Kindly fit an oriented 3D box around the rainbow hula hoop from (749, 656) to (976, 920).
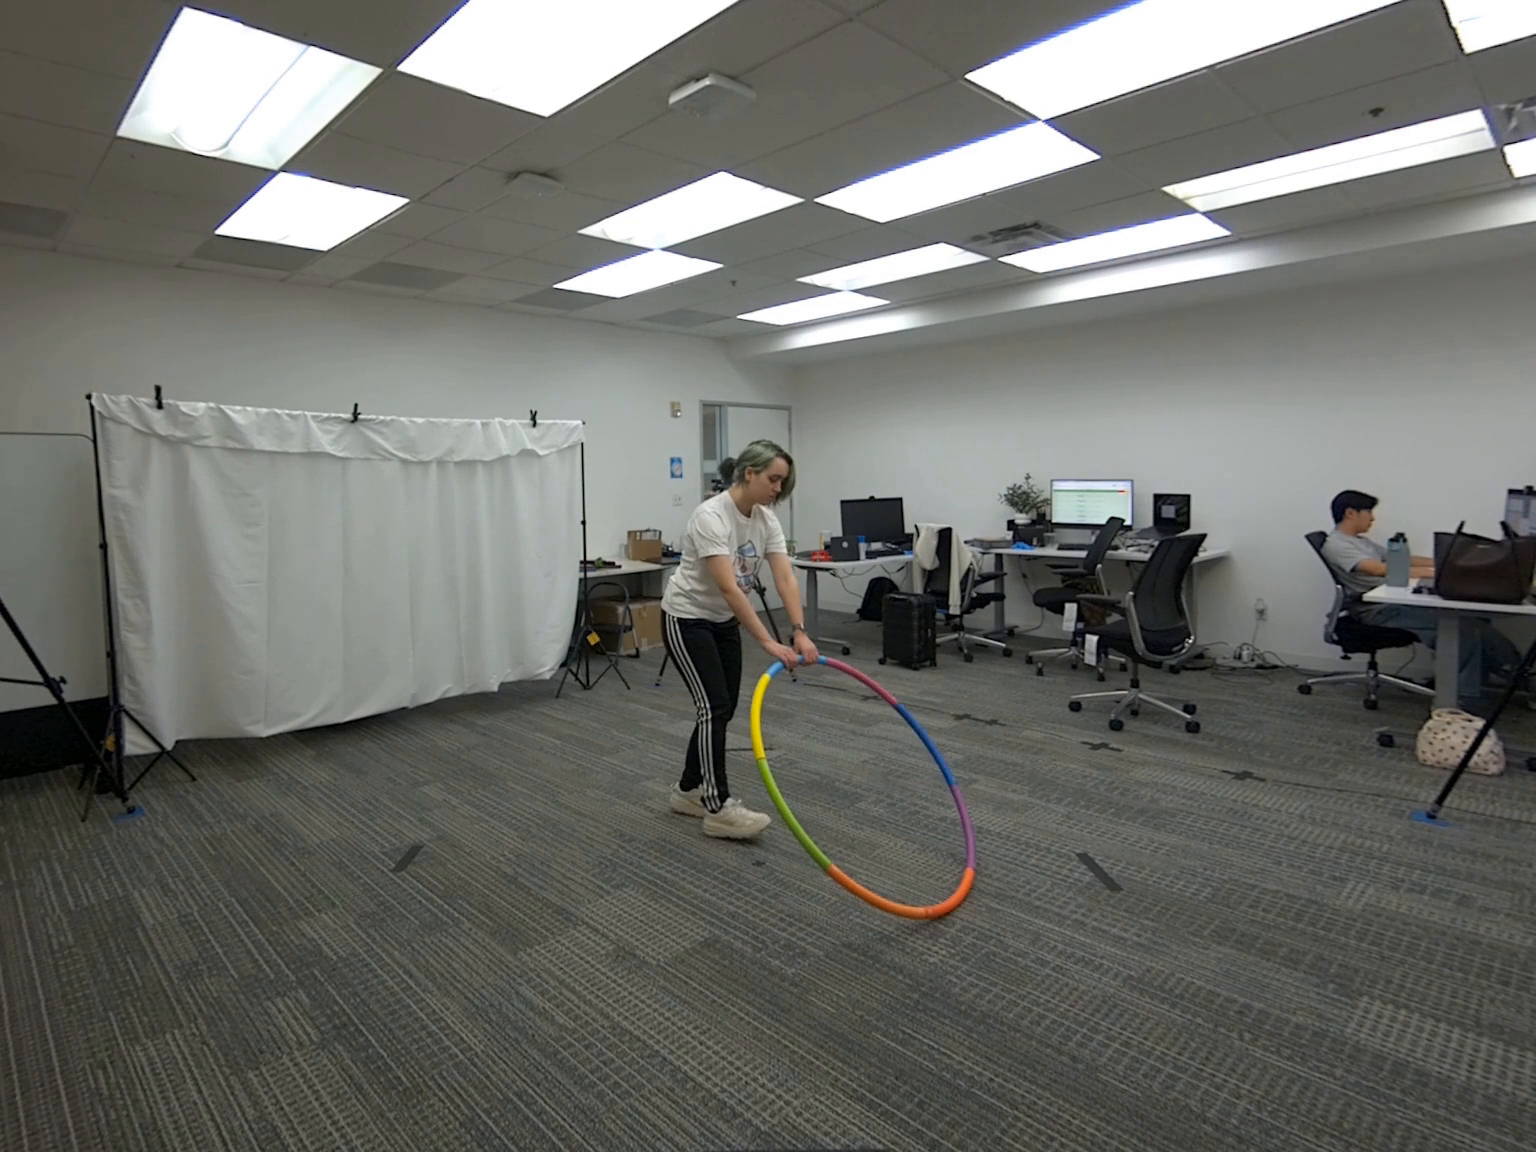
[{"bbox_3d":[0.344,0.684,2.959,0.954,1.006,0.035,-7,-35,-50],"label":"rainbow hula hoop"}]
